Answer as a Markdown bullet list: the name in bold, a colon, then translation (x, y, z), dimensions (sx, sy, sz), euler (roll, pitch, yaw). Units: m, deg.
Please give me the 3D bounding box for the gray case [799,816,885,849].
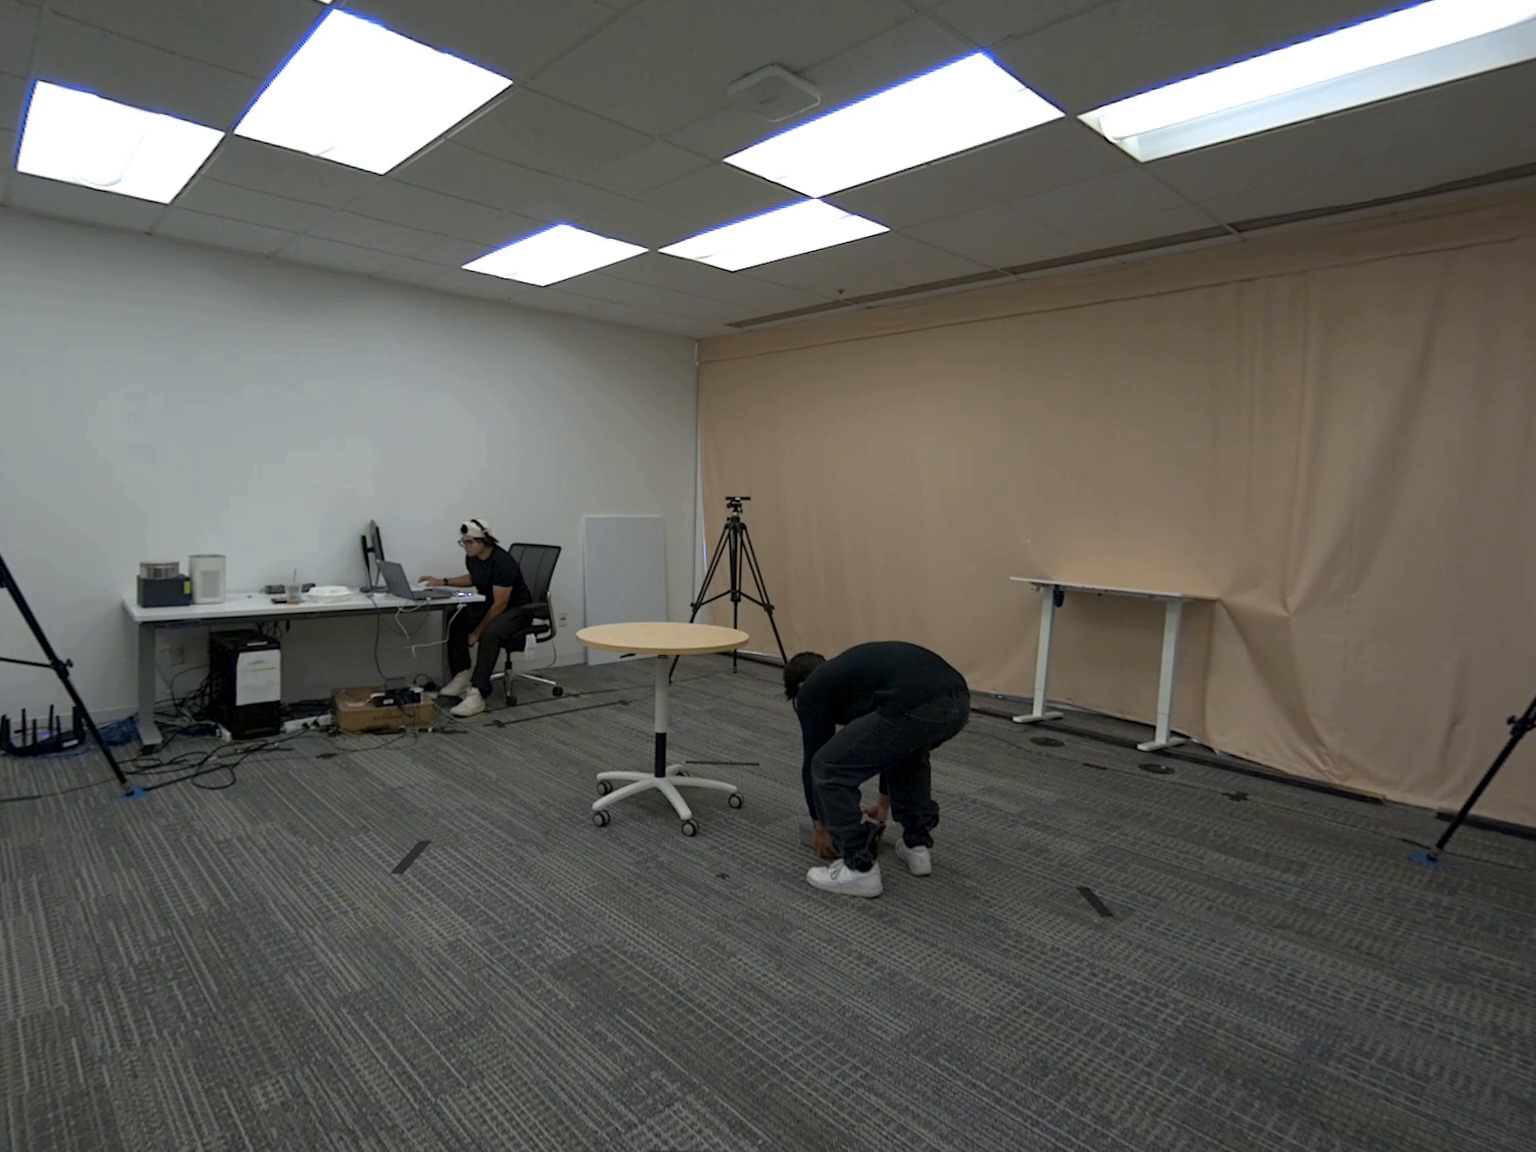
- **gray case**: translation (0.297, 1.031, 3.412), dimensions (0.251, 0.104, 0.267), euler (-2, 5, -45)
